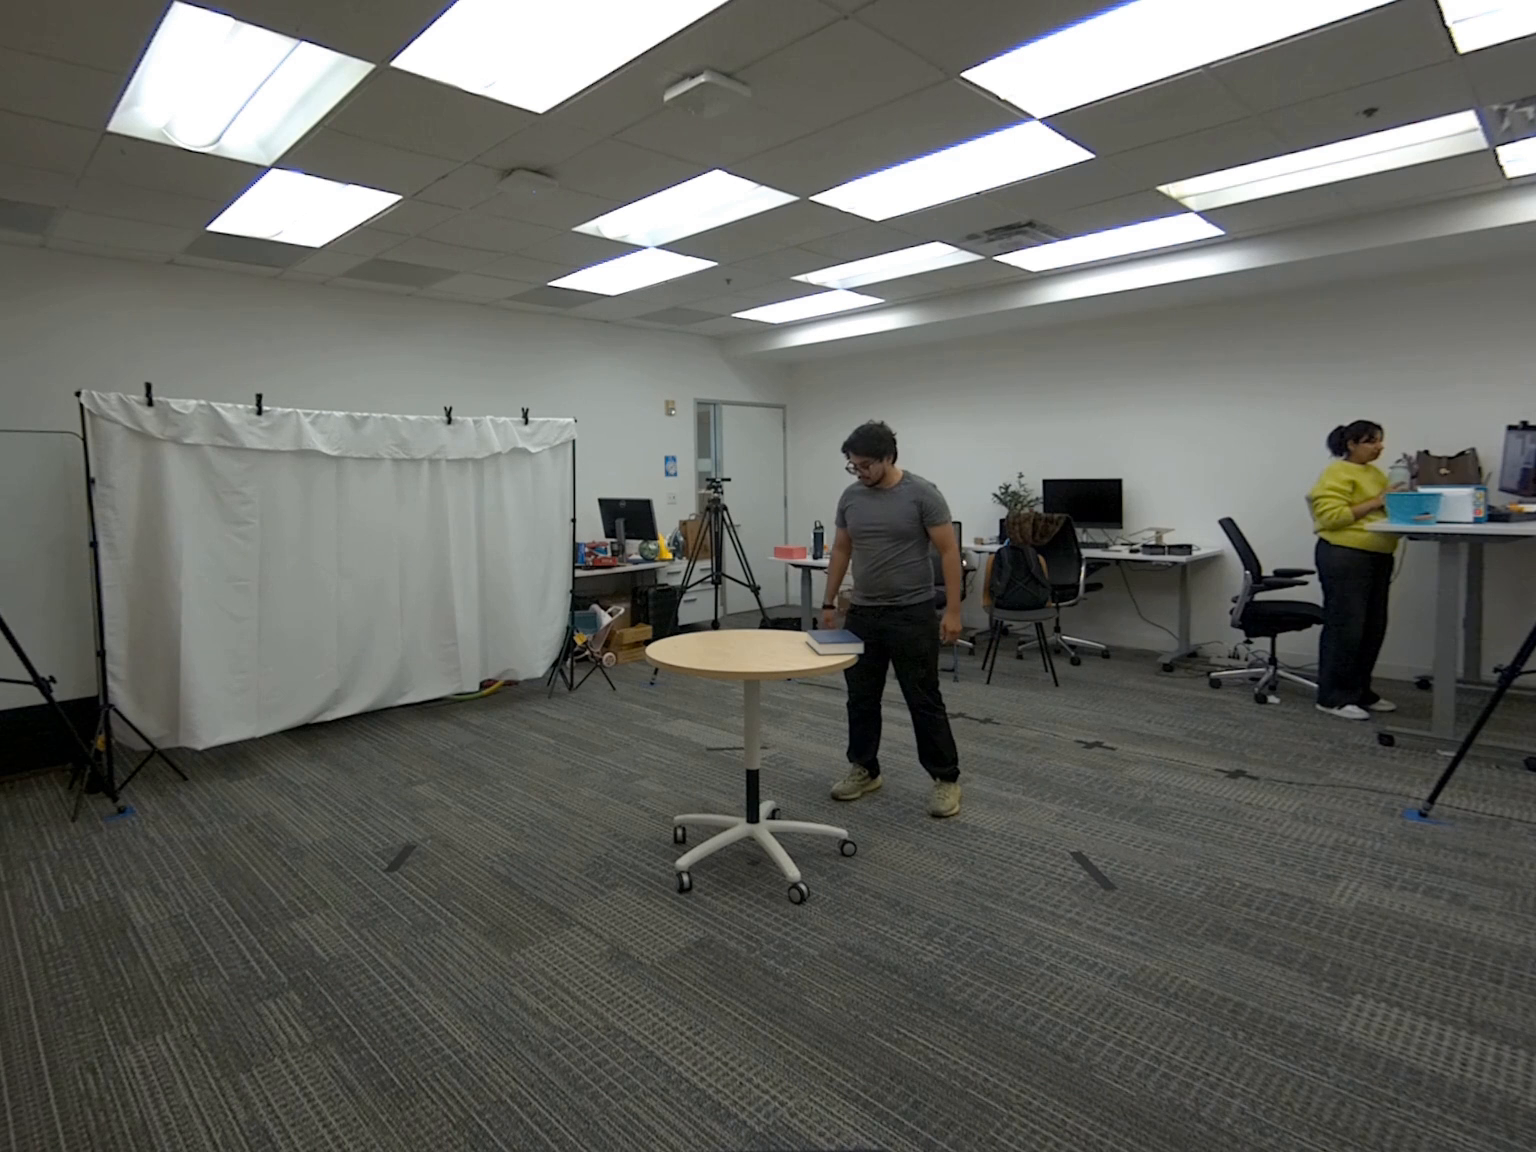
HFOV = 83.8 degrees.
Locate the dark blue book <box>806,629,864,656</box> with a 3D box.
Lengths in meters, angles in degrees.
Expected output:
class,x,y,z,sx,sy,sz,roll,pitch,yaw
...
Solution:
class,x,y,z,sx,sy,sz,roll,pitch,yaw
dark blue book,0.252,0.241,3.077,0.162,0.045,0.248,-2,7,-8
